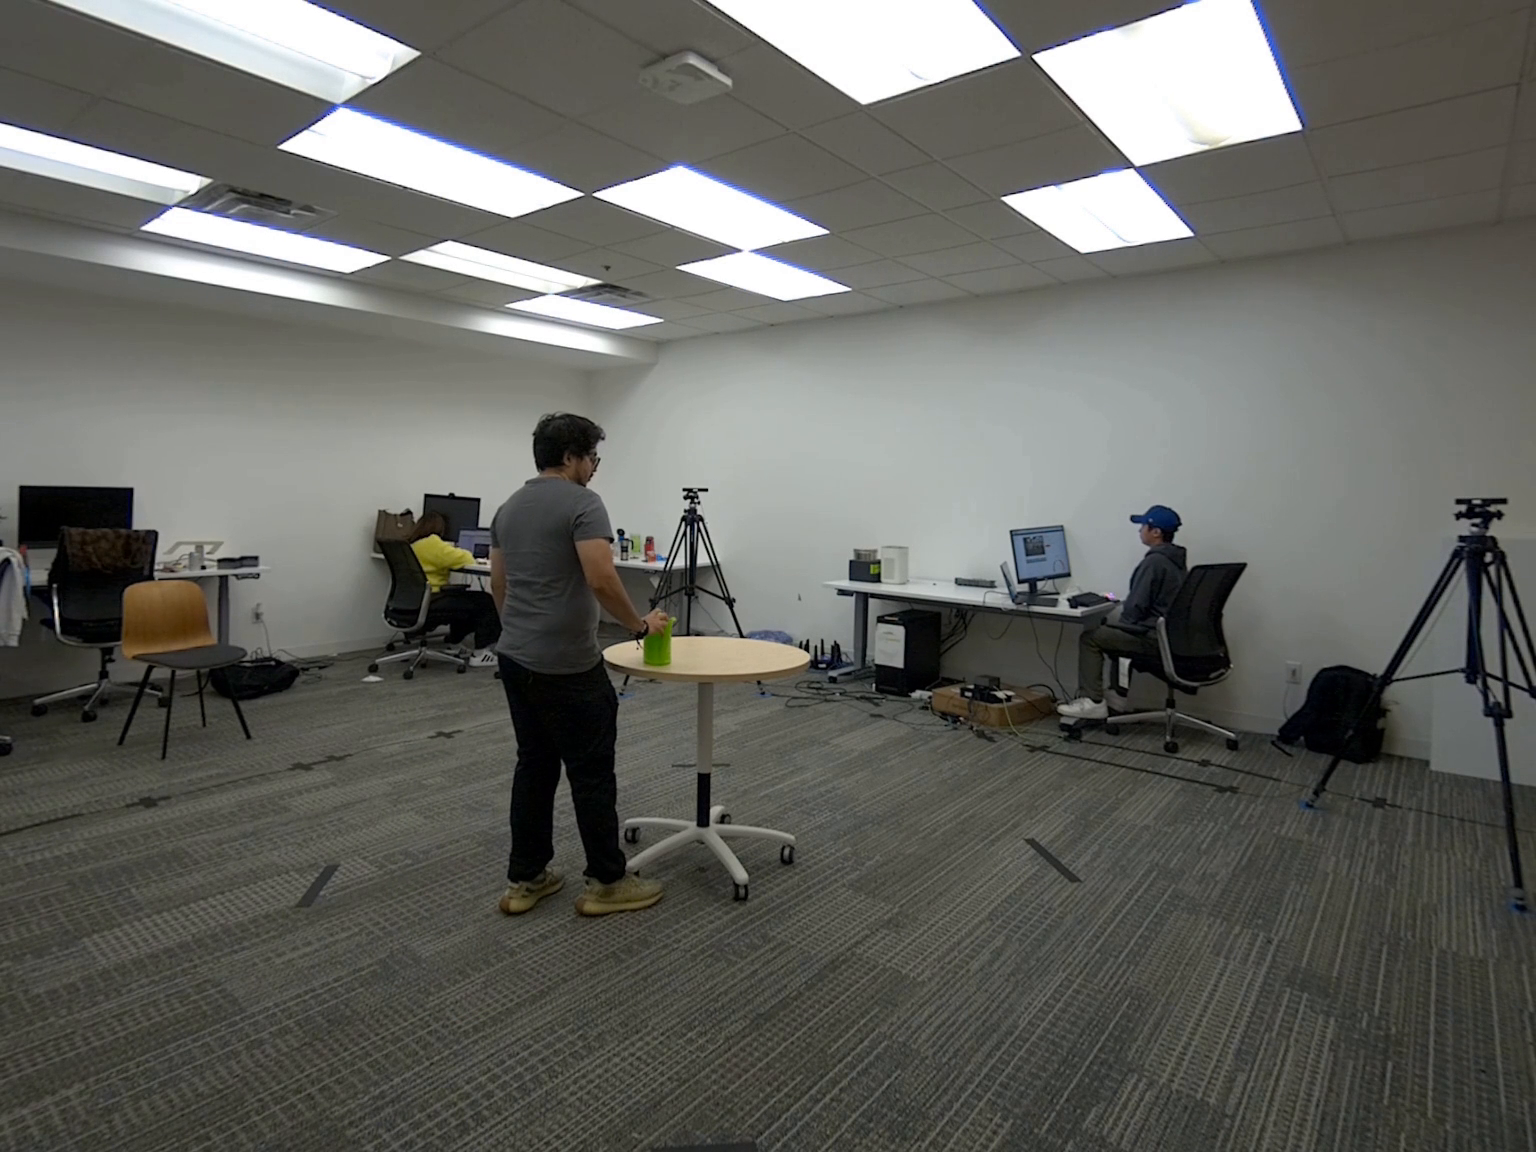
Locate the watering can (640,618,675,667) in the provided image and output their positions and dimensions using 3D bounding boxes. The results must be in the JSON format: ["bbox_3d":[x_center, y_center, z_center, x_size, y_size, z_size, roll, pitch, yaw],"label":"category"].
[{"bbox_3d":[-0.387,0.218,2.909,0.097,0.177,0.282,1,1,-13],"label":"watering can"}]
